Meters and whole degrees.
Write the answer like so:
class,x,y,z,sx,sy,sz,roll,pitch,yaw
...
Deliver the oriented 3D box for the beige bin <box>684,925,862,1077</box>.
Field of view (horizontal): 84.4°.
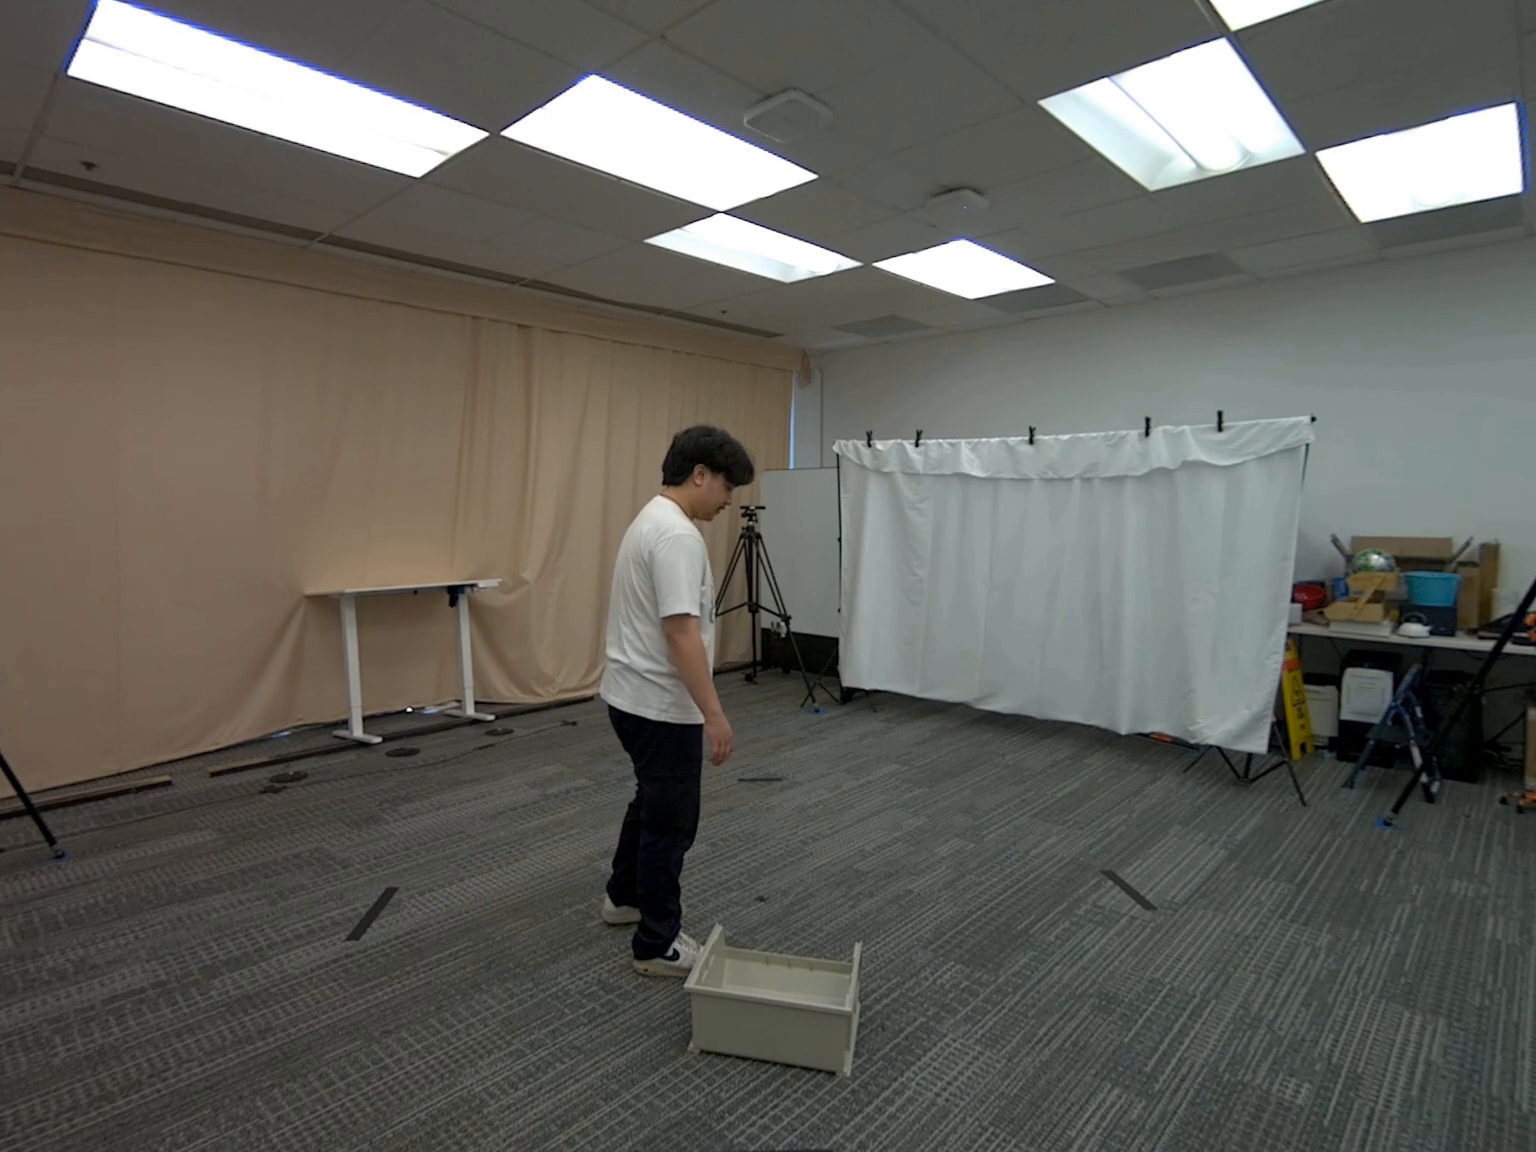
class,x,y,z,sx,sy,sz,roll,pitch,yaw
beige bin,0.033,1.120,2.256,0.428,0.188,0.373,1,5,12
